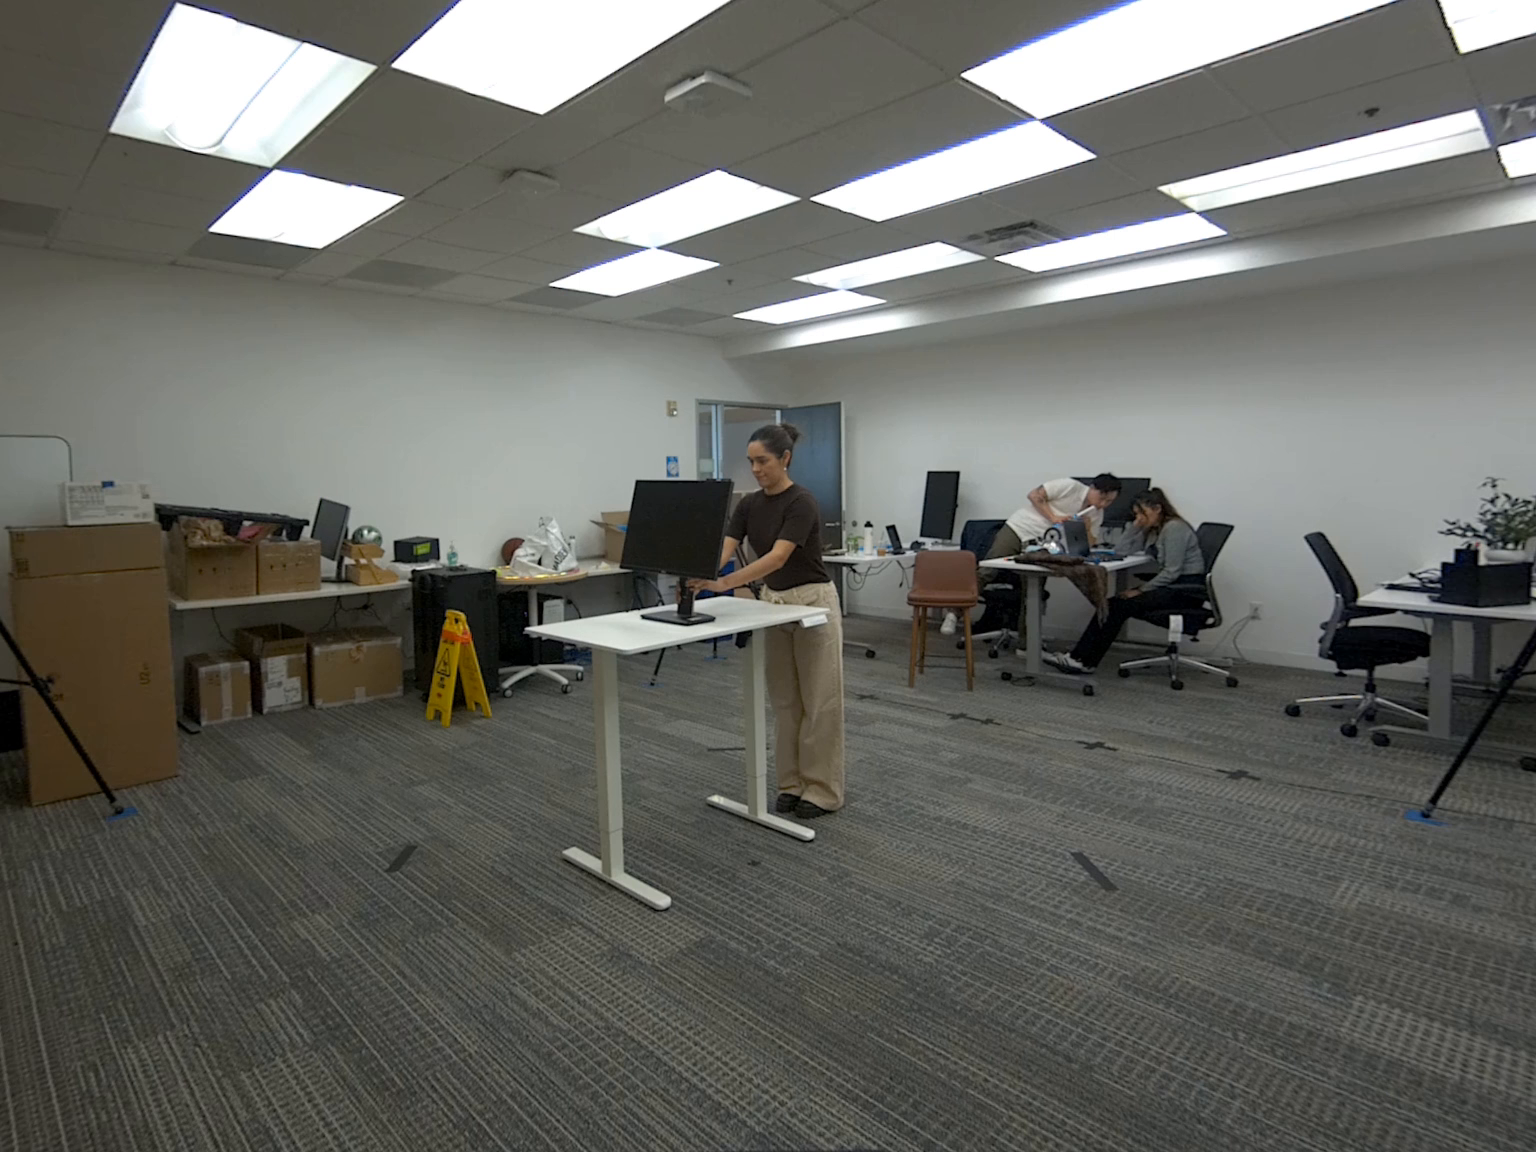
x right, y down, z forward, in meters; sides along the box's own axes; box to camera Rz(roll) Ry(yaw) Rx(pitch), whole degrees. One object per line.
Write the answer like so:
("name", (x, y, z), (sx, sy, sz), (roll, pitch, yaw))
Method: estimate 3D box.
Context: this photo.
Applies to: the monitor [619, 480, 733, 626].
("monitor", (-0.321, -0.094, 3.150), (0.547, 0.512, 0.170), (6, 11, 44))
